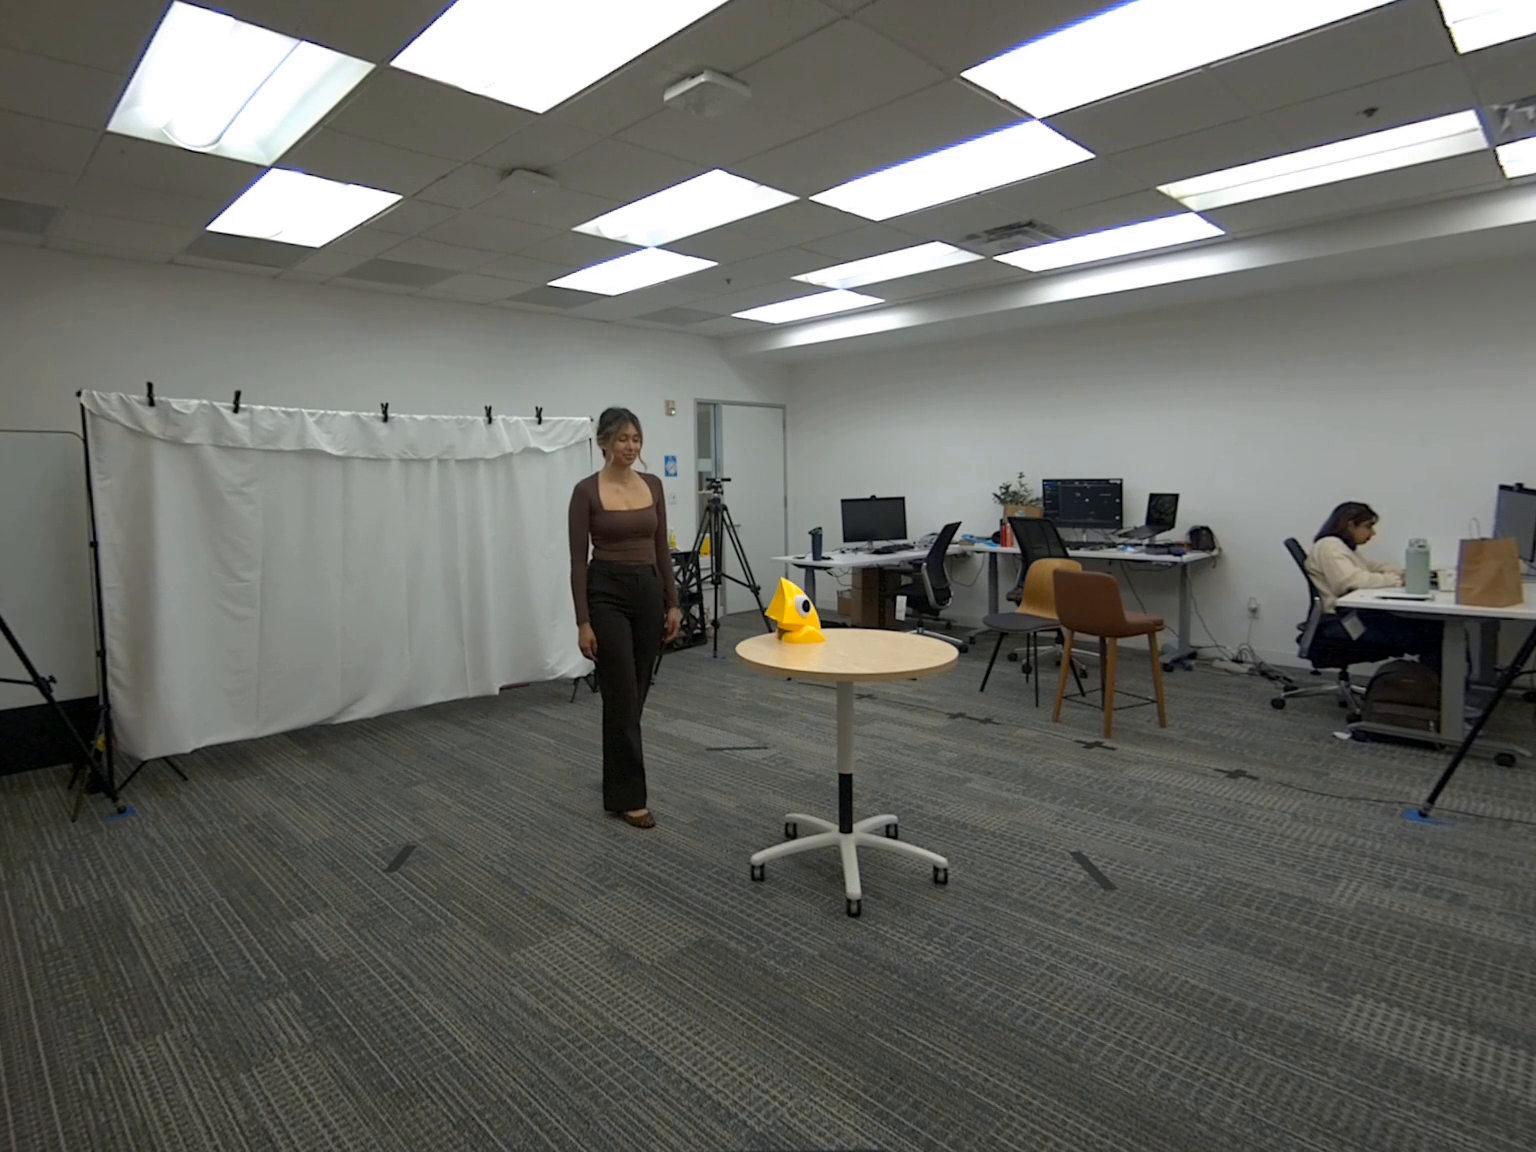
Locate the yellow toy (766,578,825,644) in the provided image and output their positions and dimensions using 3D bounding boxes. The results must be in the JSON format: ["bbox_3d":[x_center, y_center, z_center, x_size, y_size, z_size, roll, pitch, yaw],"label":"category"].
[{"bbox_3d":[0.111,0.120,3.171,0.190,0.230,0.209,-2,5,-18],"label":"yellow toy"}]
